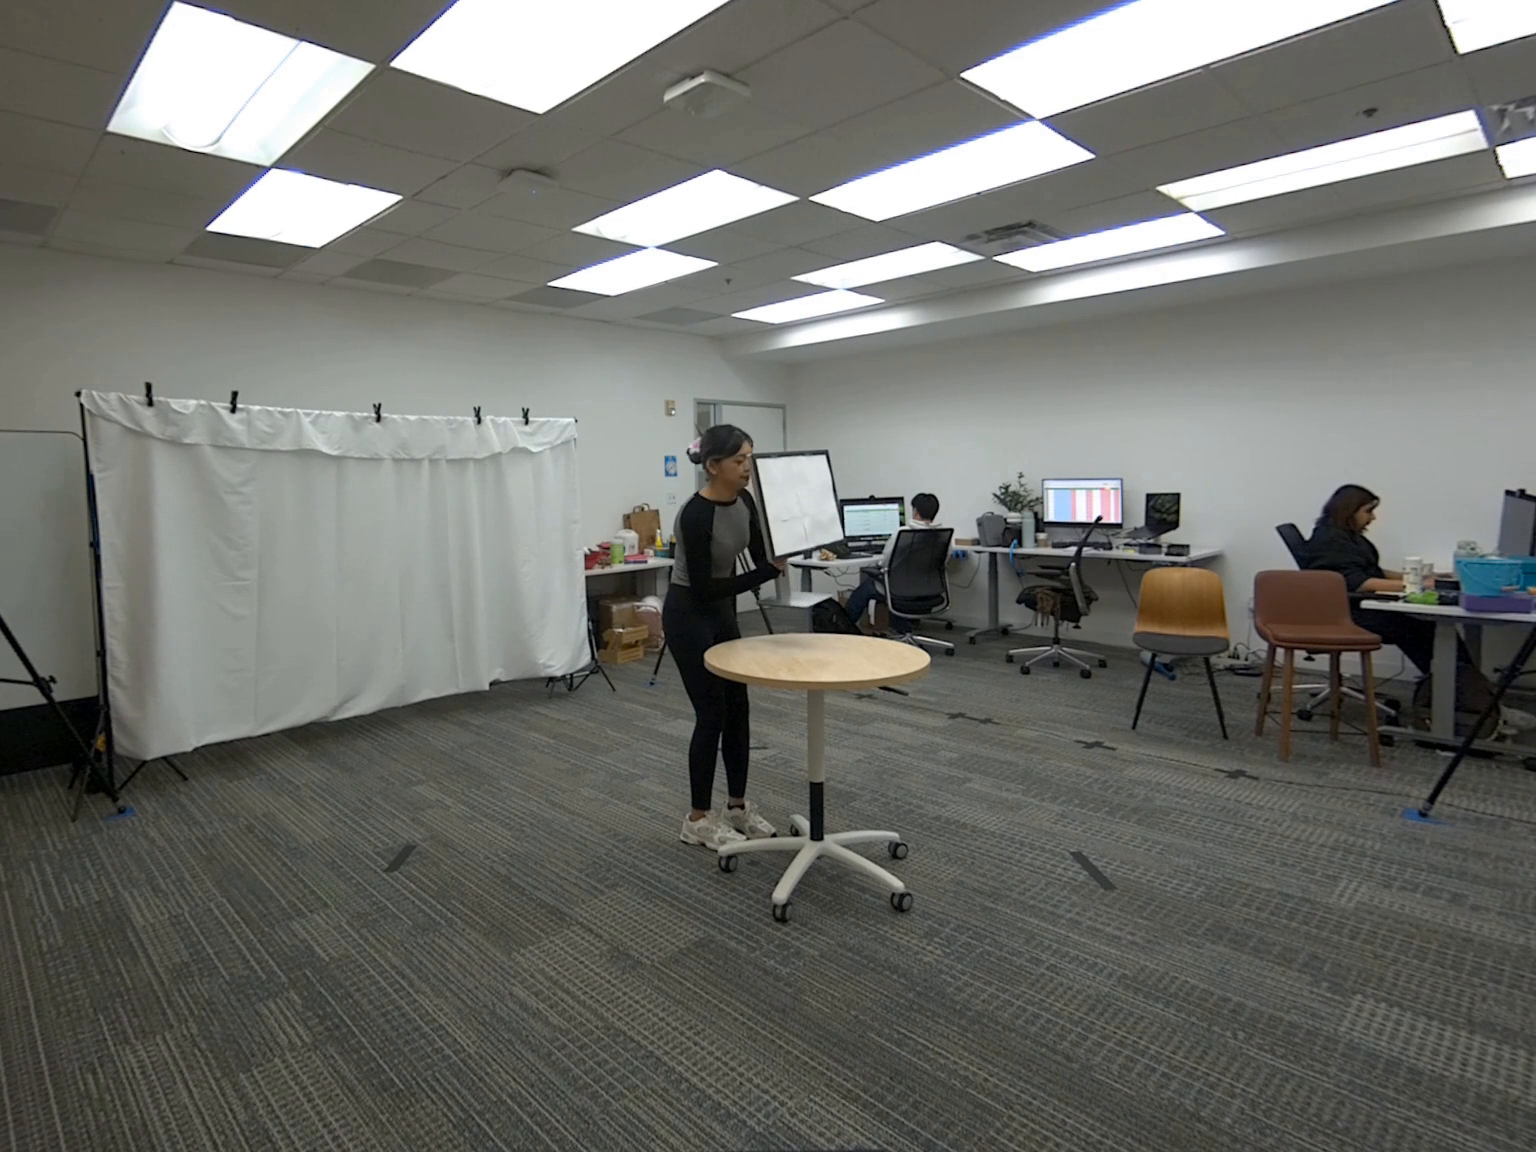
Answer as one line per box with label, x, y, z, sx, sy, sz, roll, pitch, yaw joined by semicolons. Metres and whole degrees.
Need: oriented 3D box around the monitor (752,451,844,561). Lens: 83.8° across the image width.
monitor;0.088;-0.171;3.065;0.192;0.519;0.528;3;9;30
